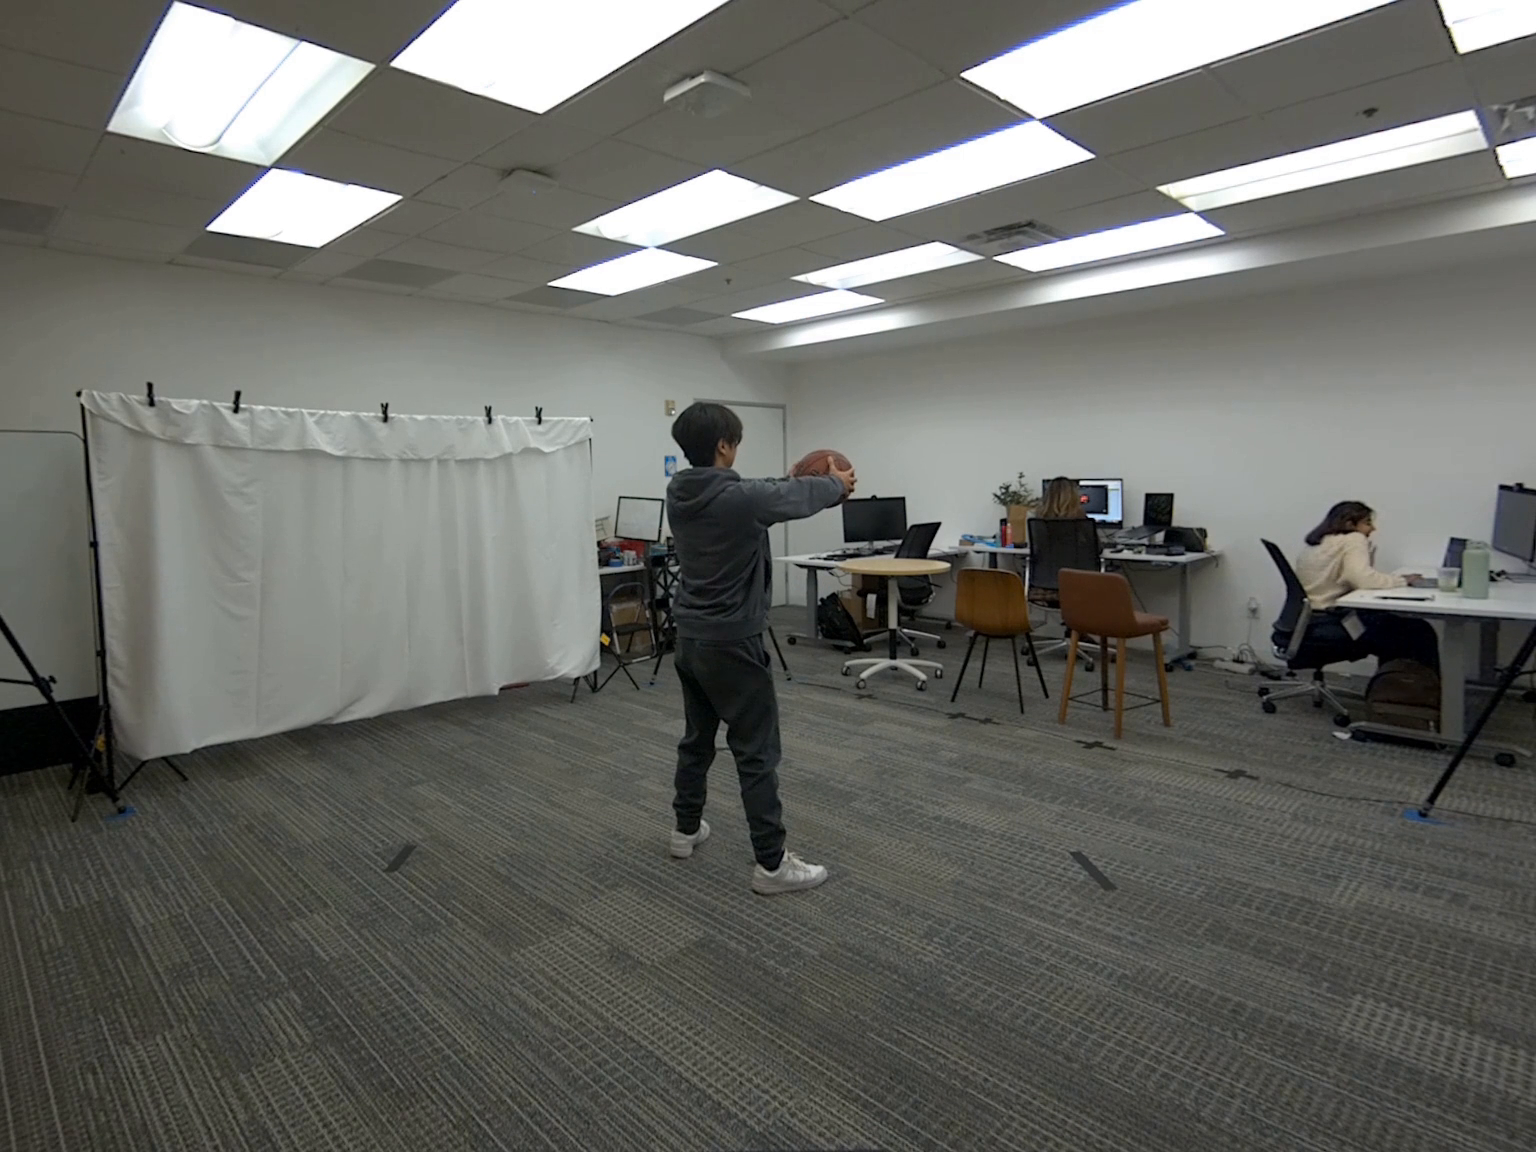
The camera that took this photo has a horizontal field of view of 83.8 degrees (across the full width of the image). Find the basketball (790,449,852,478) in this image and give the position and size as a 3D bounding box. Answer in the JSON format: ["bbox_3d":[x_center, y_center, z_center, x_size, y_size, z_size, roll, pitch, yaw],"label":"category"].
[{"bbox_3d":[0.223,-0.386,3.415,0.236,0.235,0.237,-1,5,-2],"label":"basketball"}]
